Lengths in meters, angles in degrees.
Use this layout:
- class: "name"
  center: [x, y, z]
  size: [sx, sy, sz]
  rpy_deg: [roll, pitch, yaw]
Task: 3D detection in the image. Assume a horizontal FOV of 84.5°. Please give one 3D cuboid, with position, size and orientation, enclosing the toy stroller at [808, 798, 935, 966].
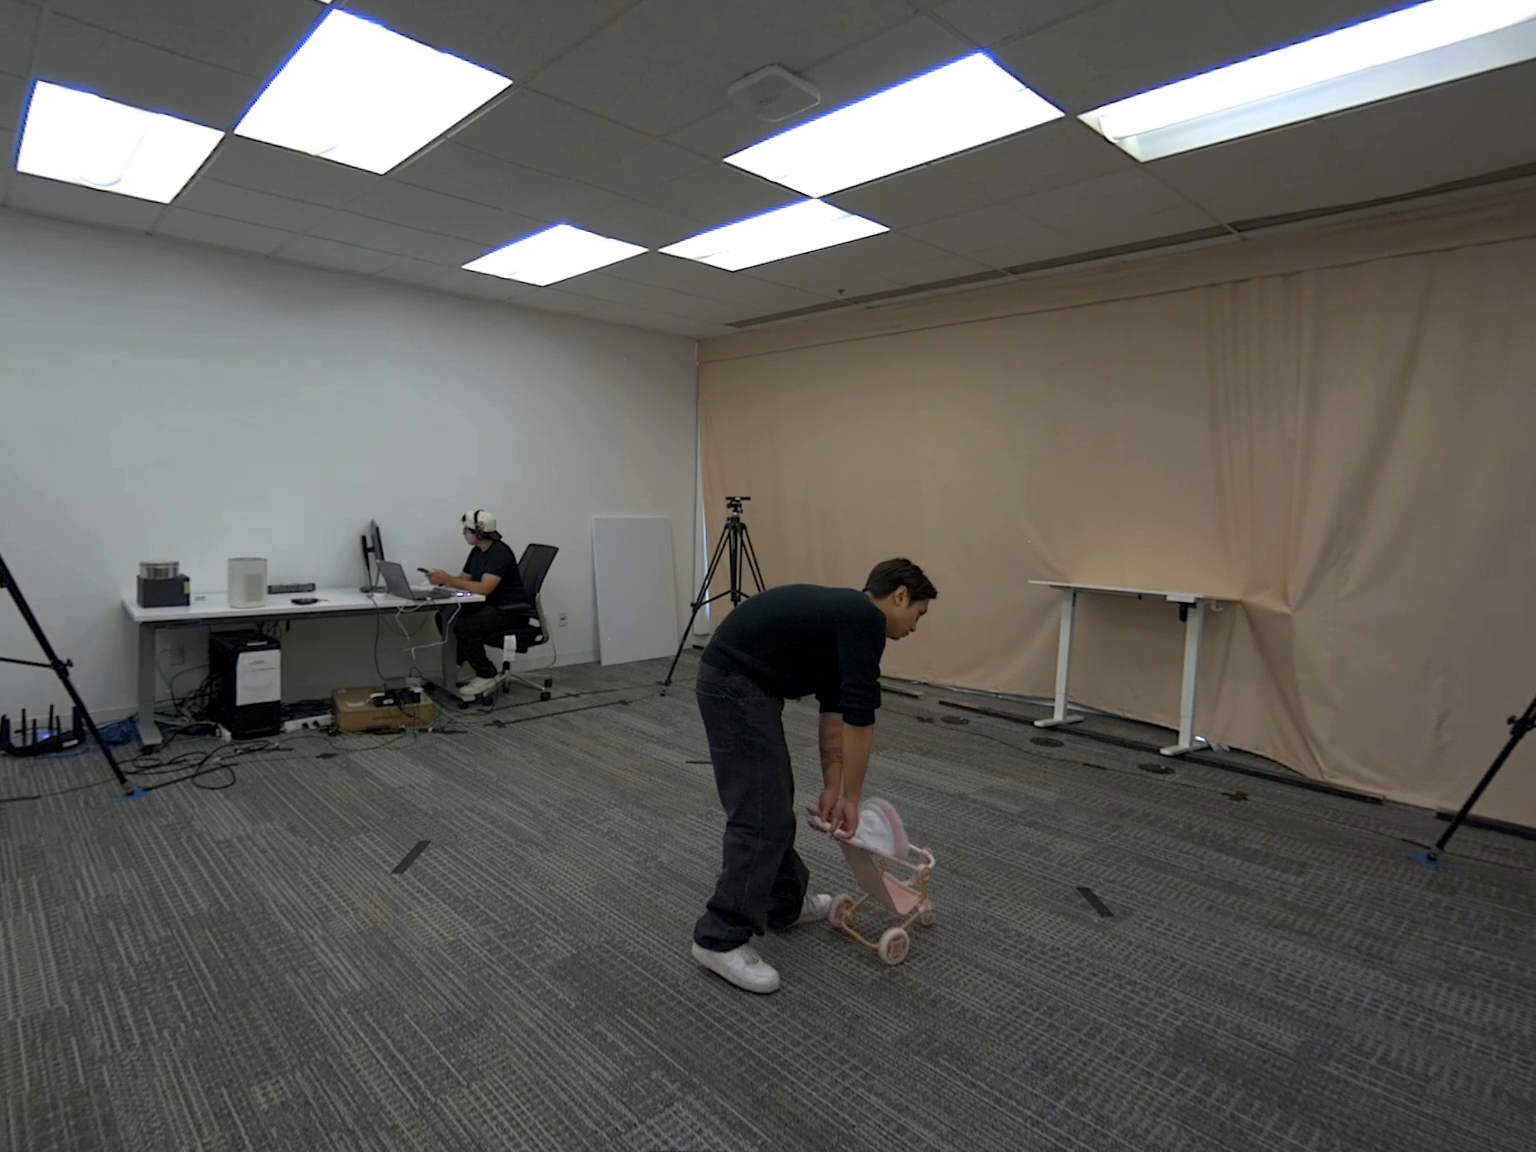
- class: "toy stroller"
  center: [0.363, 0.934, 2.660]
  size: [0.337, 0.529, 0.288]
  rpy_deg: [-20, 14, -28]
